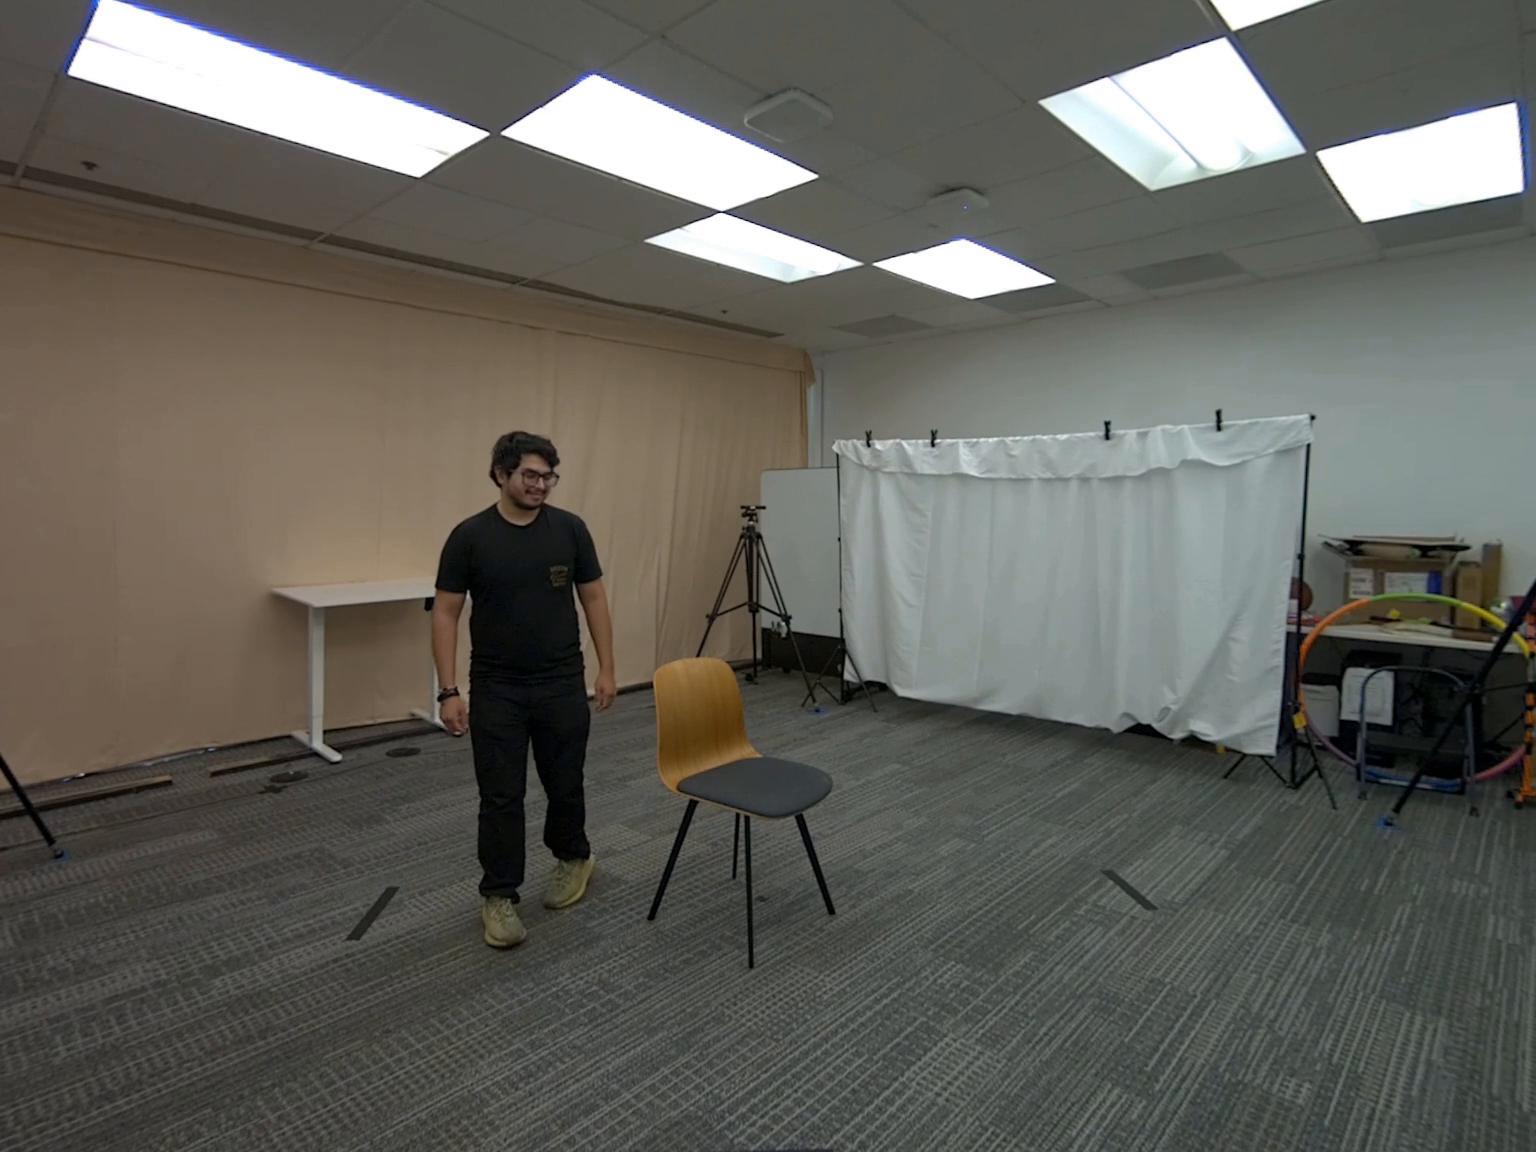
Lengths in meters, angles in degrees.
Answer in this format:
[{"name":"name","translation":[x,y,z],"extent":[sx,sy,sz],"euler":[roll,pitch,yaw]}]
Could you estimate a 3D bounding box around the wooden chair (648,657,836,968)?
[{"name":"wooden chair","translation":[-0.079,0.734,2.810],"extent":[0.539,0.877,0.463],"euler":[-3,0,40]}]
